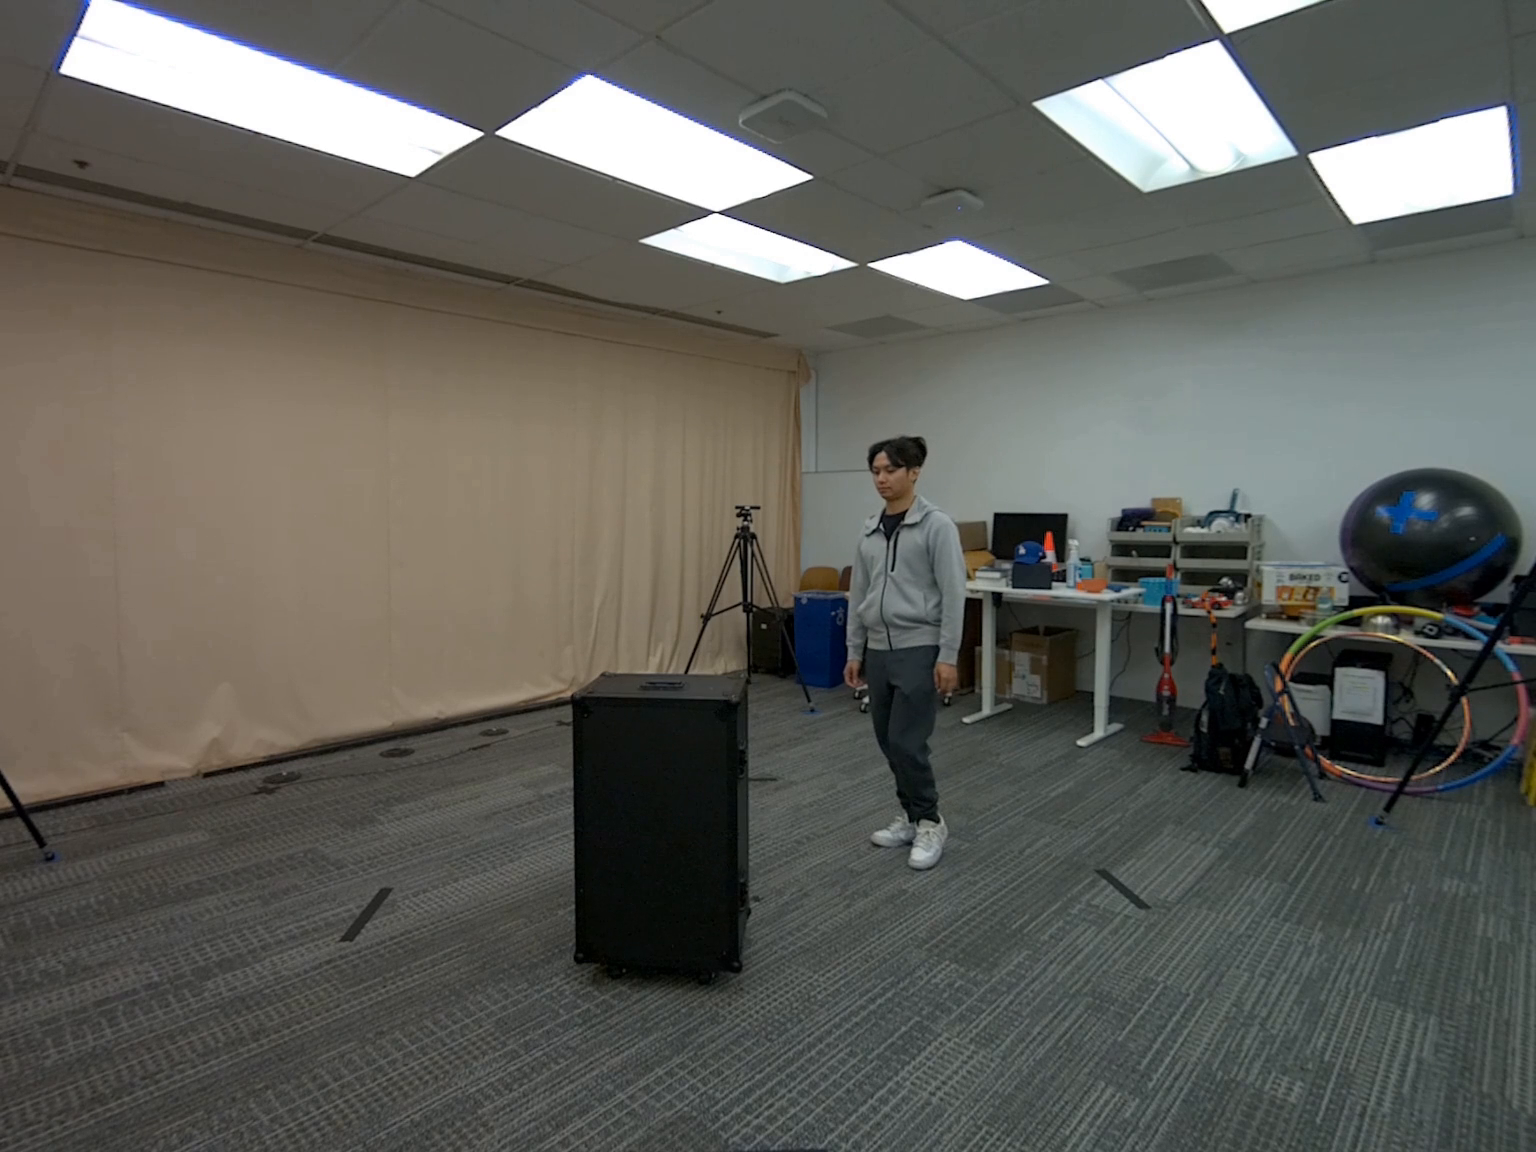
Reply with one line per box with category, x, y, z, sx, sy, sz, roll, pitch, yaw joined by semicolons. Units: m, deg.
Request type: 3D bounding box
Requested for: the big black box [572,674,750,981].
big black box;-0.314;0.753;2.580;0.526;0.860;0.393;0;2;7
